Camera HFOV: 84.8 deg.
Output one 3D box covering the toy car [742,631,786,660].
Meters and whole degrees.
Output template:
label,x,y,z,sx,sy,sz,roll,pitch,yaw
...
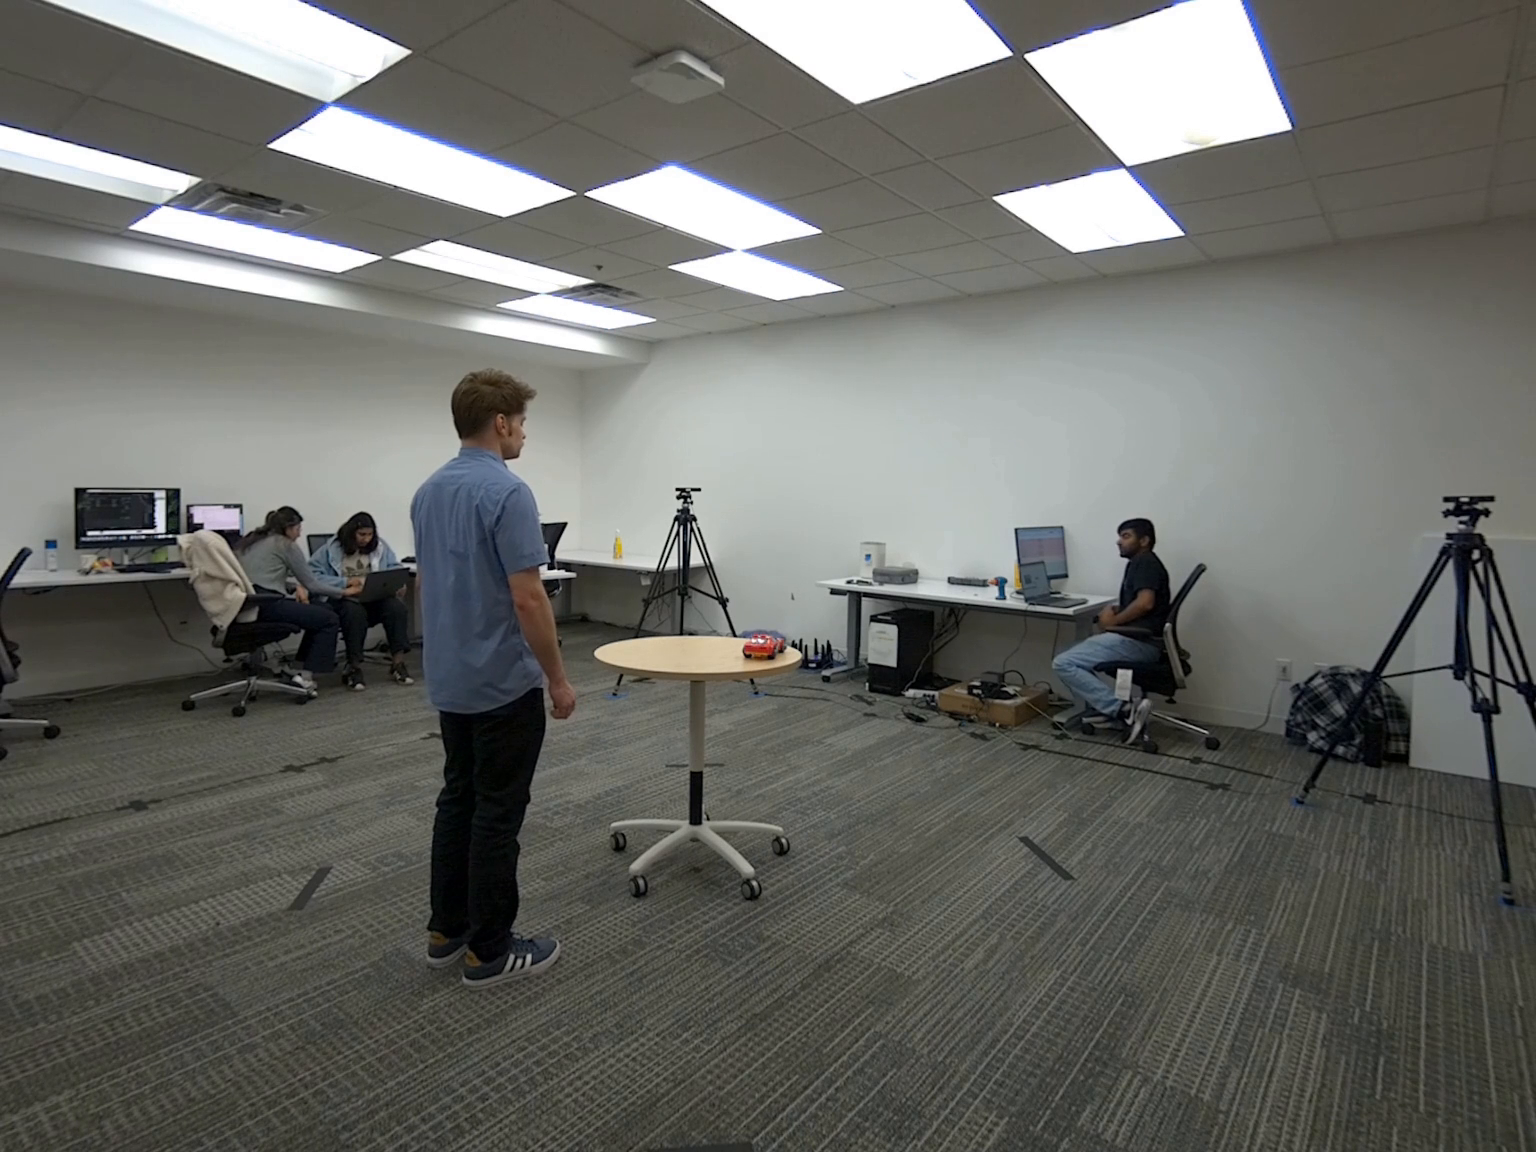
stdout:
label,x,y,z,sx,sy,sz,roll,pitch,yaw
toy car,-0.030,0.257,3.097,0.132,0.084,0.248,3,-6,15
